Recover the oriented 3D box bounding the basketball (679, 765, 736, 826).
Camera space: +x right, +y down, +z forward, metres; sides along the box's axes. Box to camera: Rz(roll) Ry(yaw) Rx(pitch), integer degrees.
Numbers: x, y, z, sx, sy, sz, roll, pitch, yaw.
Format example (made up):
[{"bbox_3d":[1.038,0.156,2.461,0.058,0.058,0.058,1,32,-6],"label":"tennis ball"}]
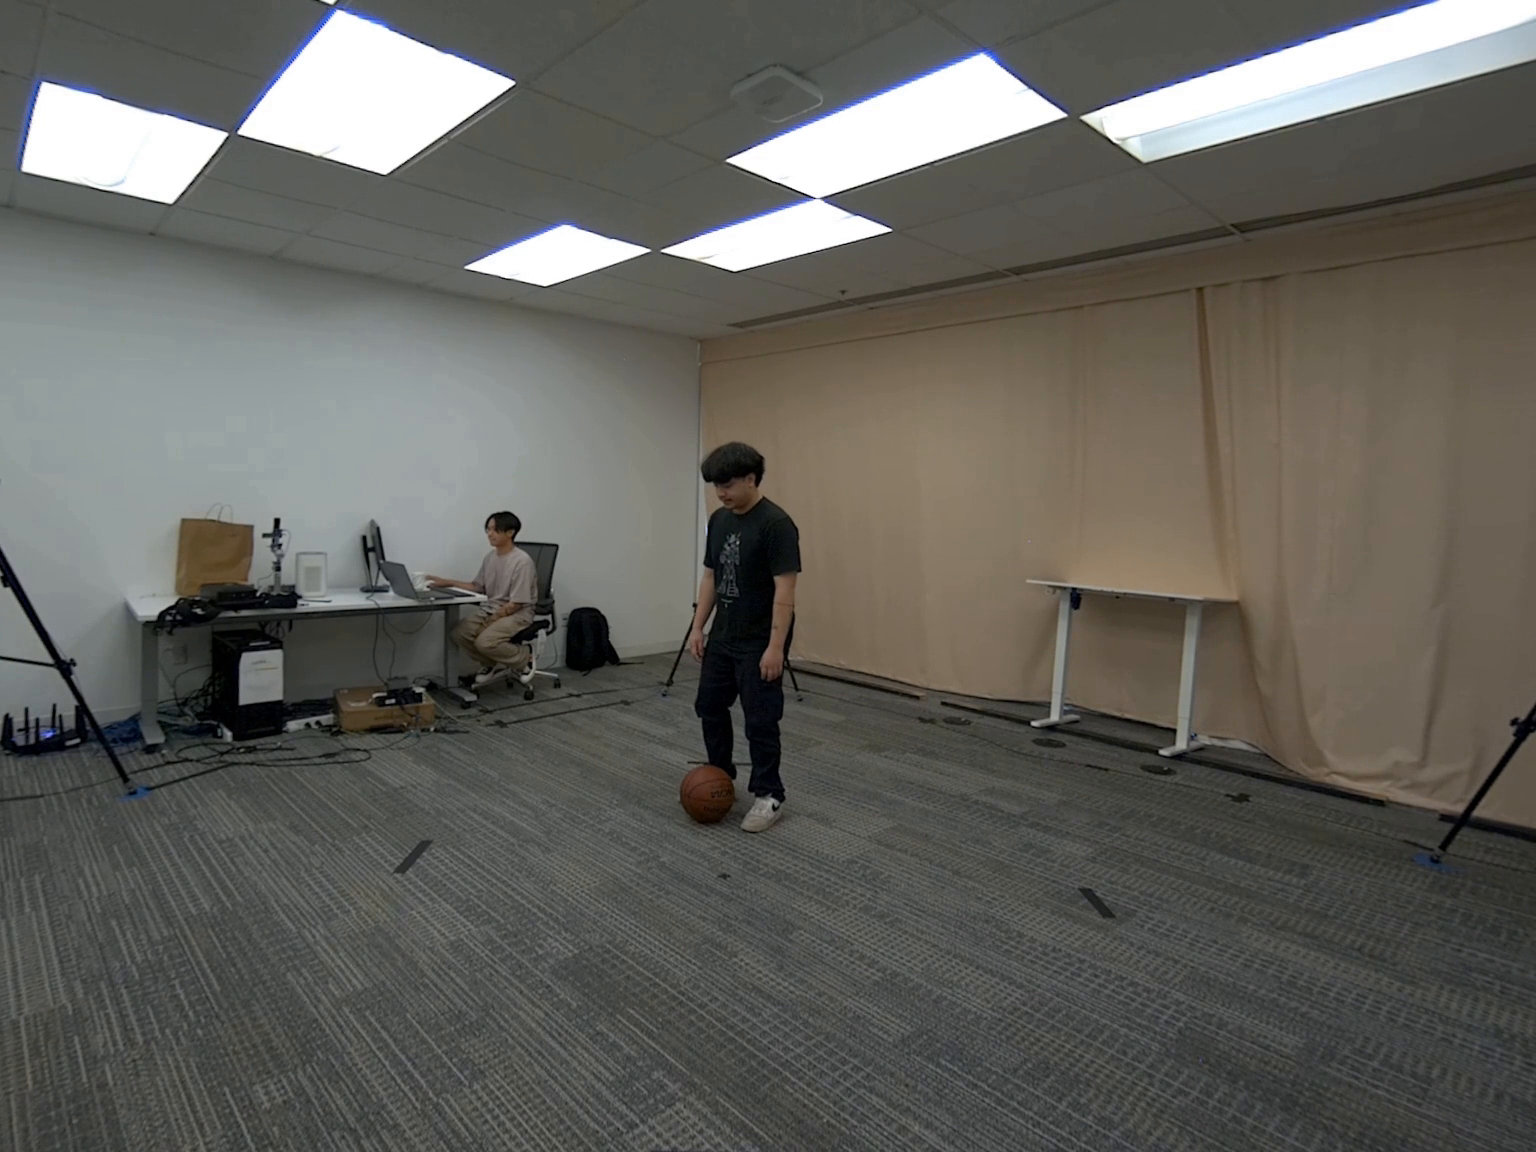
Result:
[{"bbox_3d":[-0.268,0.937,3.630,0.236,0.235,0.237,1,4,-1],"label":"basketball"}]
